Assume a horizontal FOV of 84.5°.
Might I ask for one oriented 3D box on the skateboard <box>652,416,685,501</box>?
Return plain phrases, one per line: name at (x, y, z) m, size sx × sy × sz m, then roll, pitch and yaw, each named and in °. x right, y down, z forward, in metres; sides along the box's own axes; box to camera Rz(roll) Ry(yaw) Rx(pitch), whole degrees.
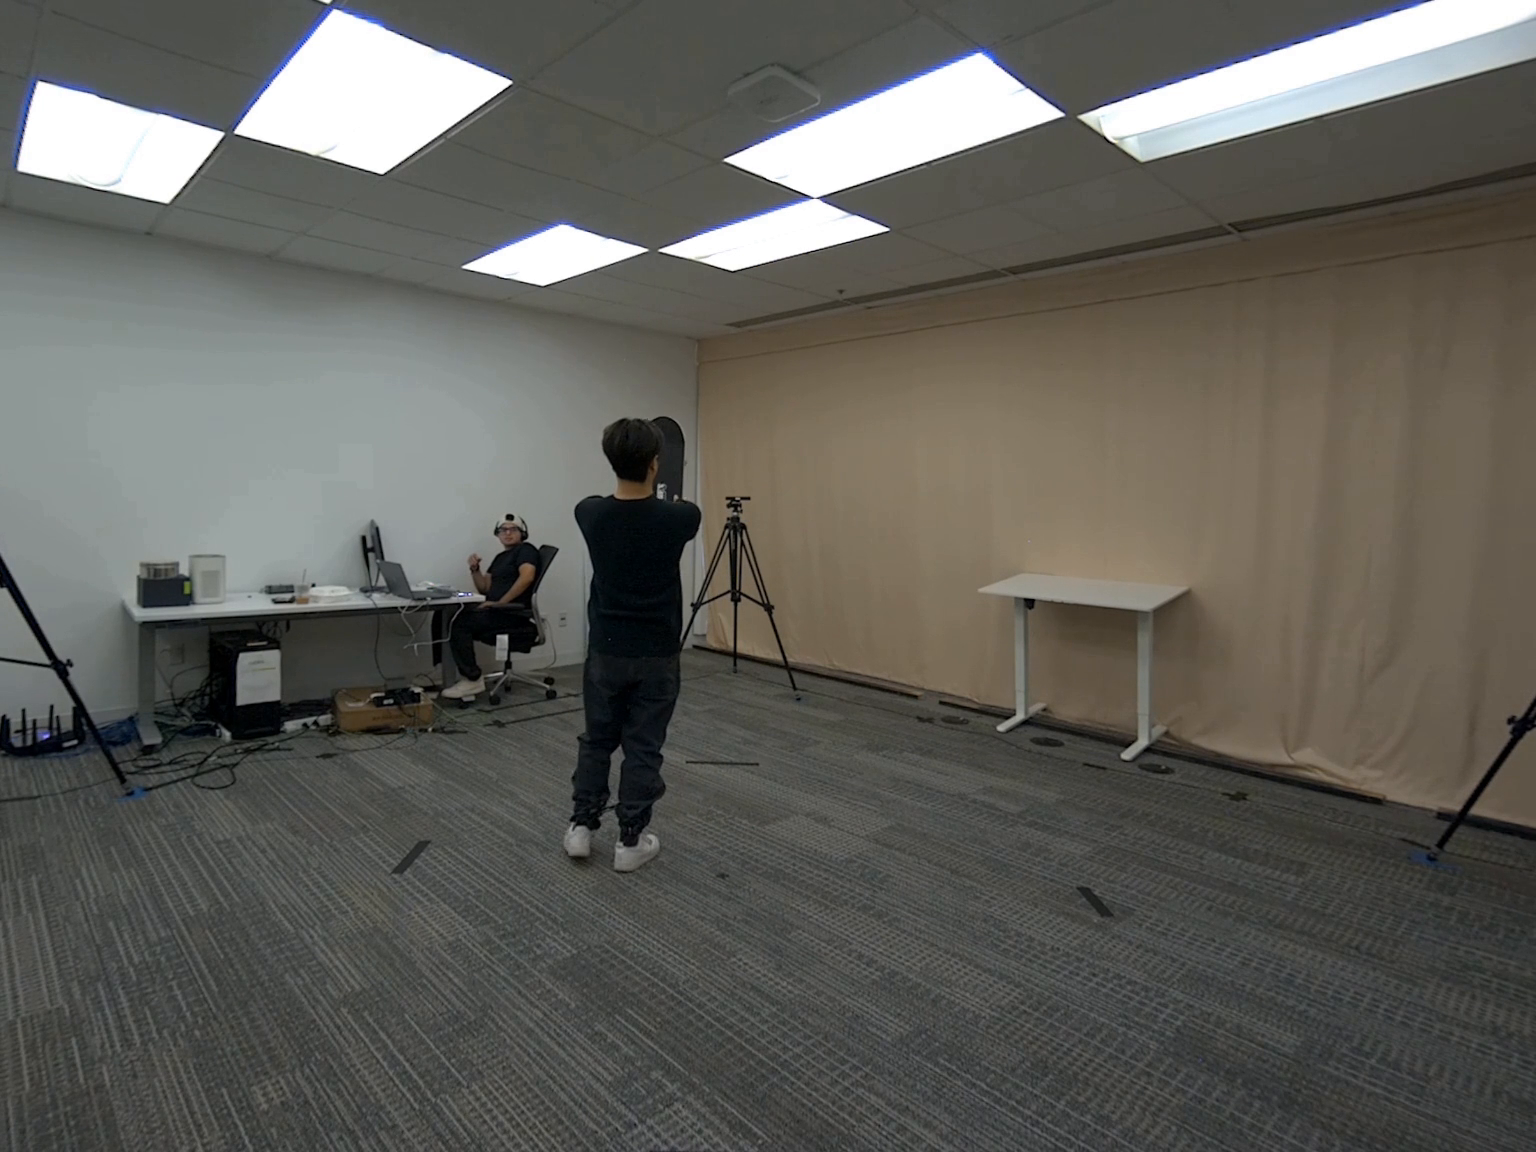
skateboard at (-0.480, -0.305, 3.729) m, size 0.194 × 0.784 × 0.110 m, roll 4°, pitch 2°, yaw 4°
